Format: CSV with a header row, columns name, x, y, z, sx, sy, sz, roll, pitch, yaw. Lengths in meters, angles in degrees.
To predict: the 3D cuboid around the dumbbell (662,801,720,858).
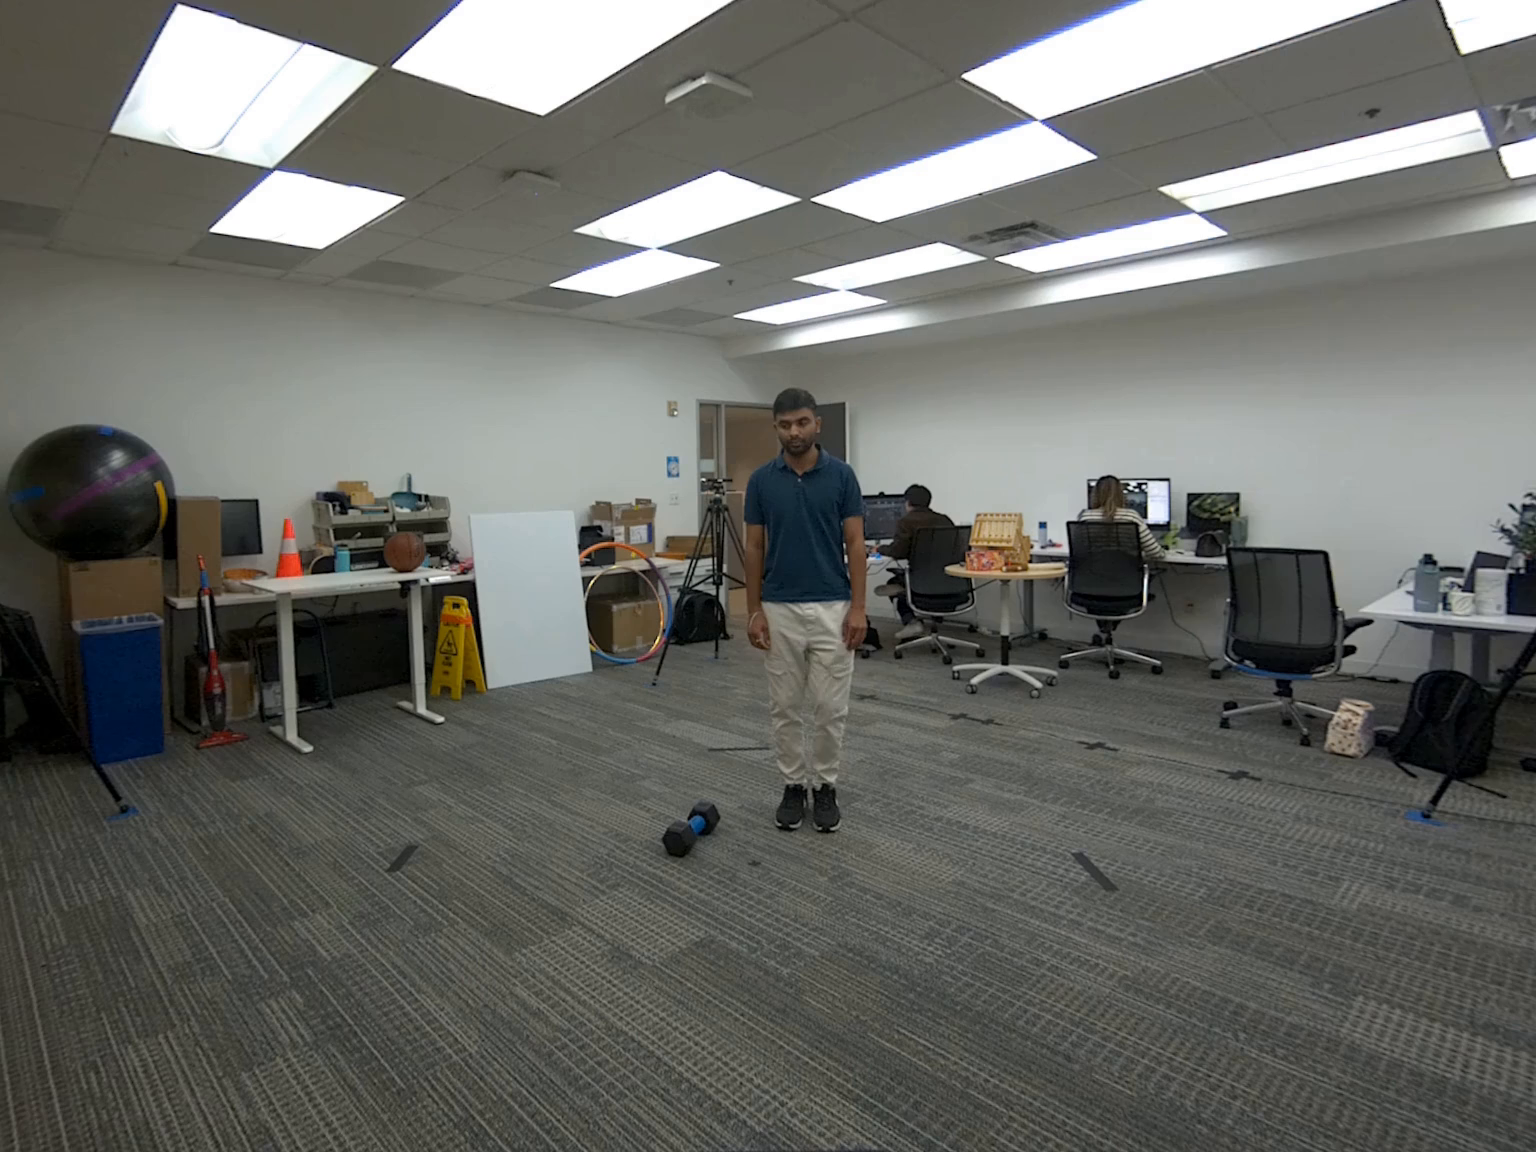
name,x,y,z,sx,sy,sz,roll,pitch,yaw
dumbbell,-0.290,0.974,3.296,0.109,0.124,0.289,-32,-6,22
